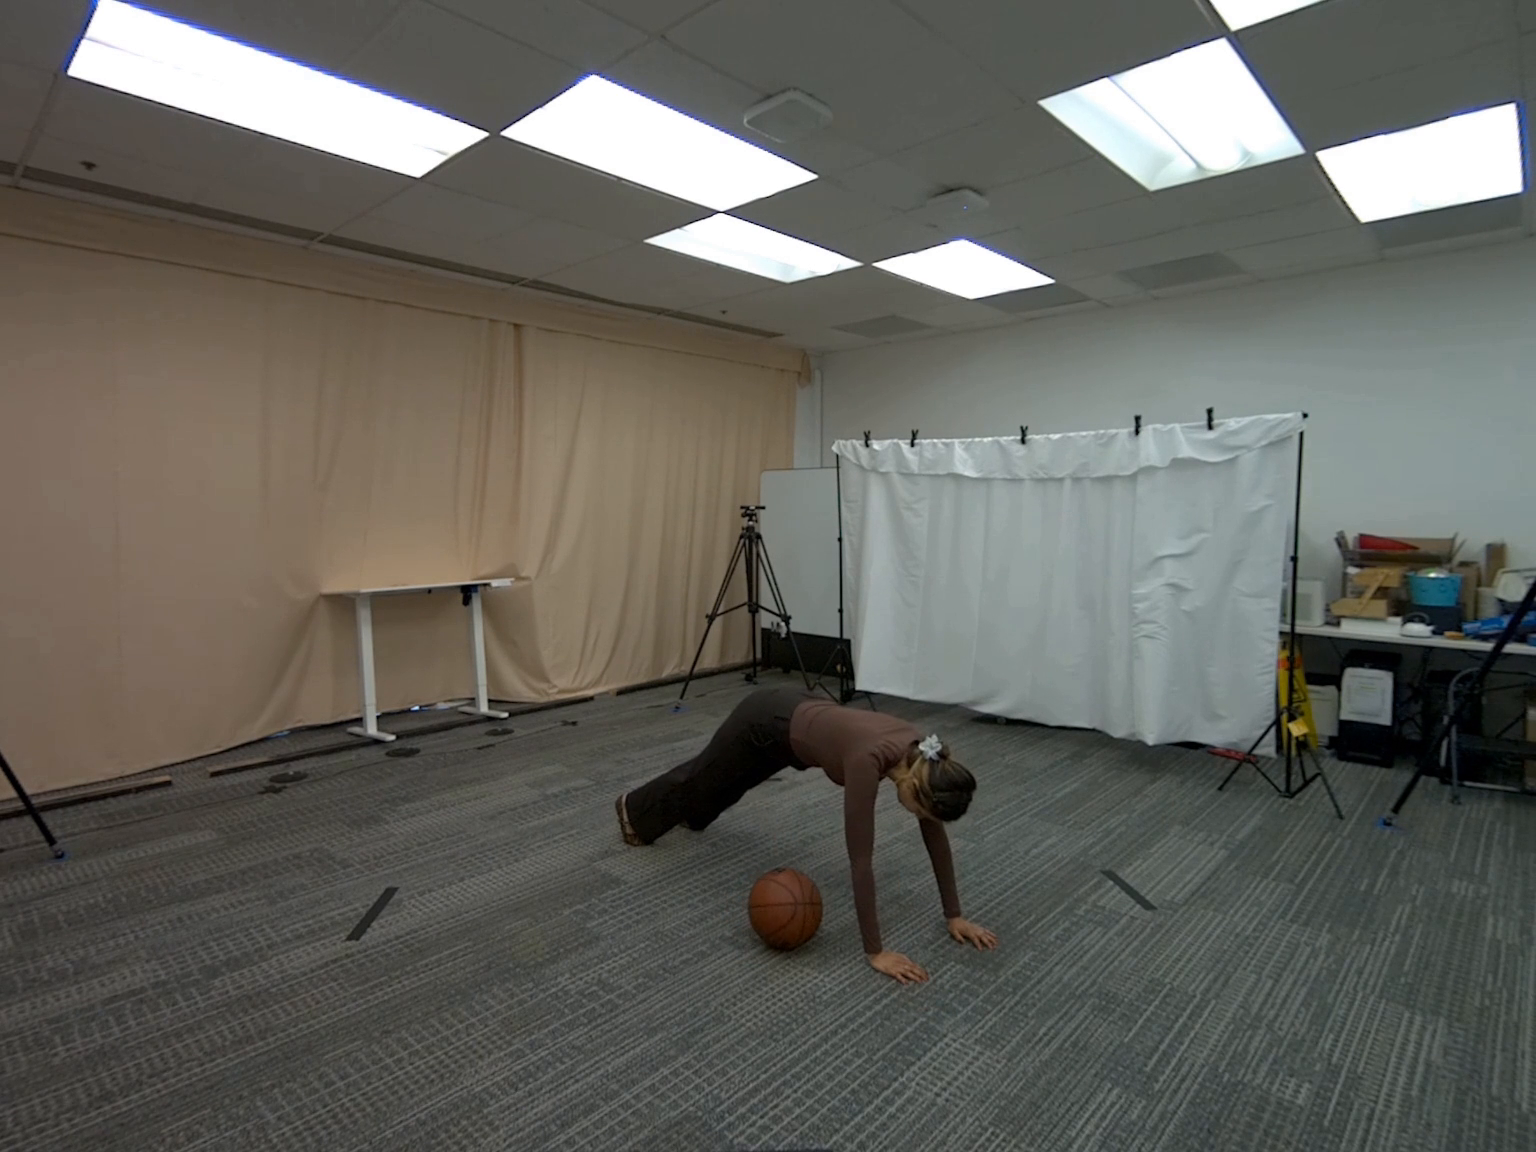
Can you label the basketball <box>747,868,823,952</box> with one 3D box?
[{"bbox_3d":[0.053,1.055,2.665,0.236,0.235,0.237,0,4,-2],"label":"basketball"}]
